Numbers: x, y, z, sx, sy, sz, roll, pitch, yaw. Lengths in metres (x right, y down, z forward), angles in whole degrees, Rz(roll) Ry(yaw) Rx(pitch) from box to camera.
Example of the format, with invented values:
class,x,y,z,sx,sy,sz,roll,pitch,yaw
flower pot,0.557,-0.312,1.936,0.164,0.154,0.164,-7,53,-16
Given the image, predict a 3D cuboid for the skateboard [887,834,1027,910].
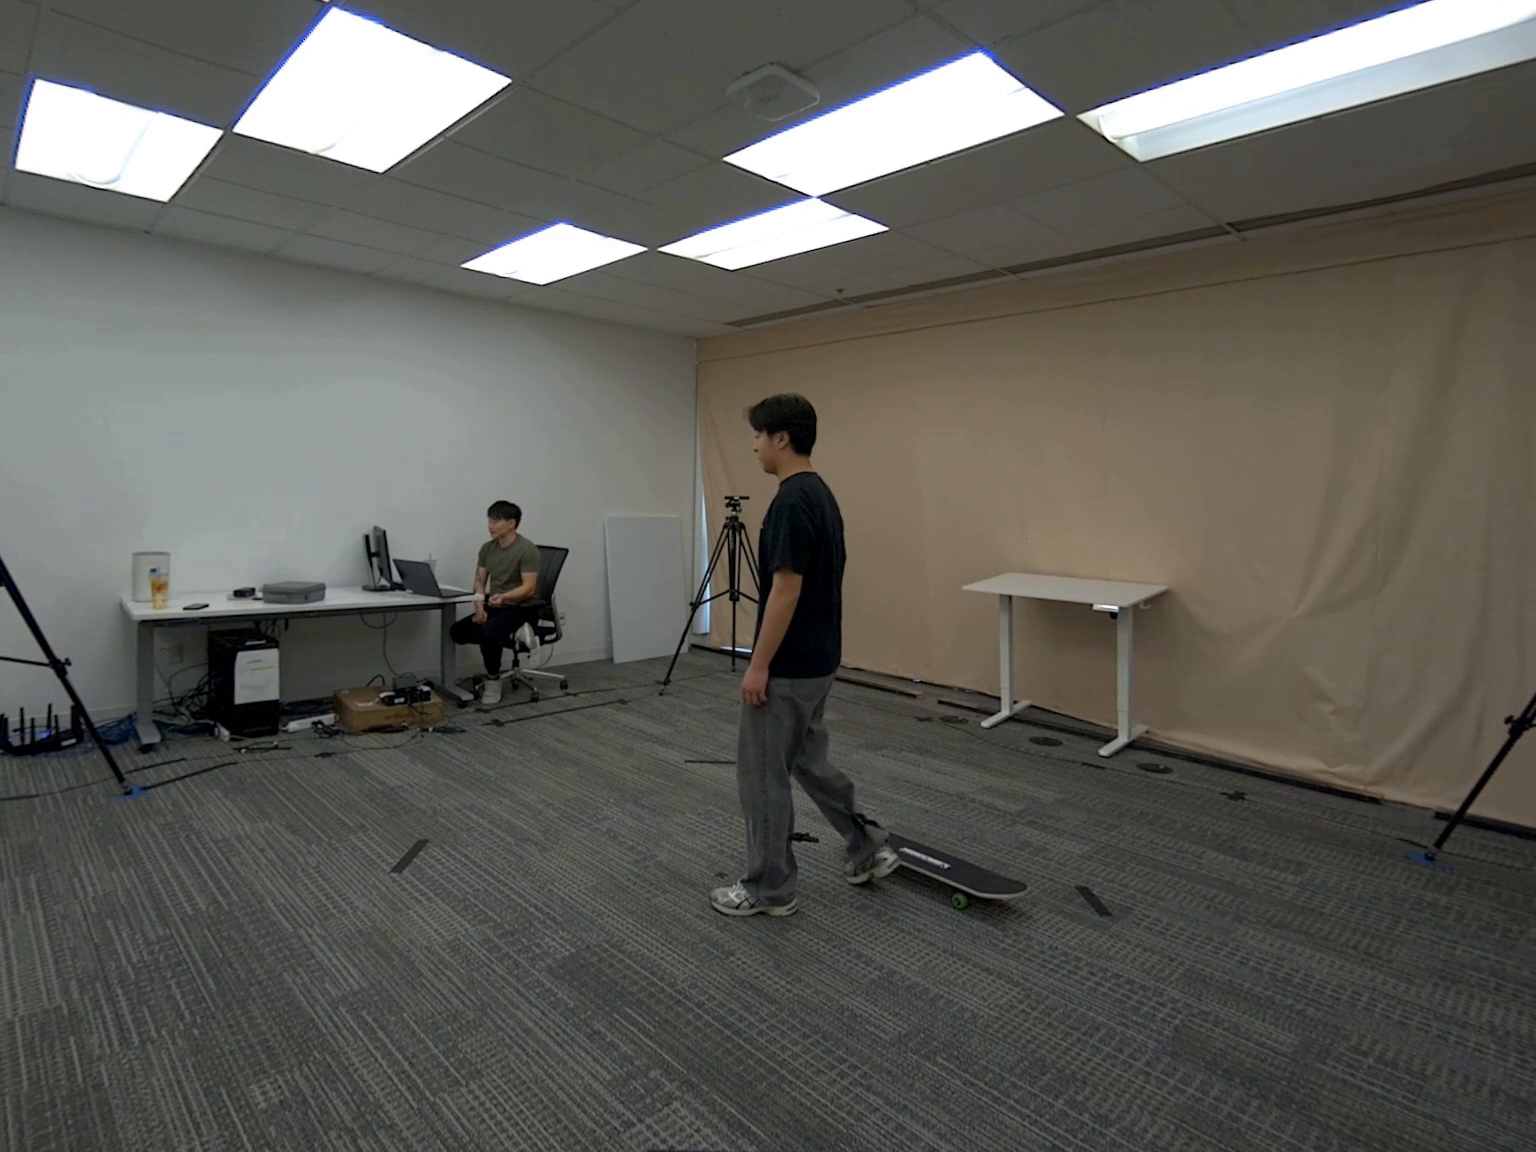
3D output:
class,x,y,z,sx,sy,sz,roll,pitch,yaw
skateboard,0.573,1.072,3.091,0.189,0.110,0.806,-2,6,-44
